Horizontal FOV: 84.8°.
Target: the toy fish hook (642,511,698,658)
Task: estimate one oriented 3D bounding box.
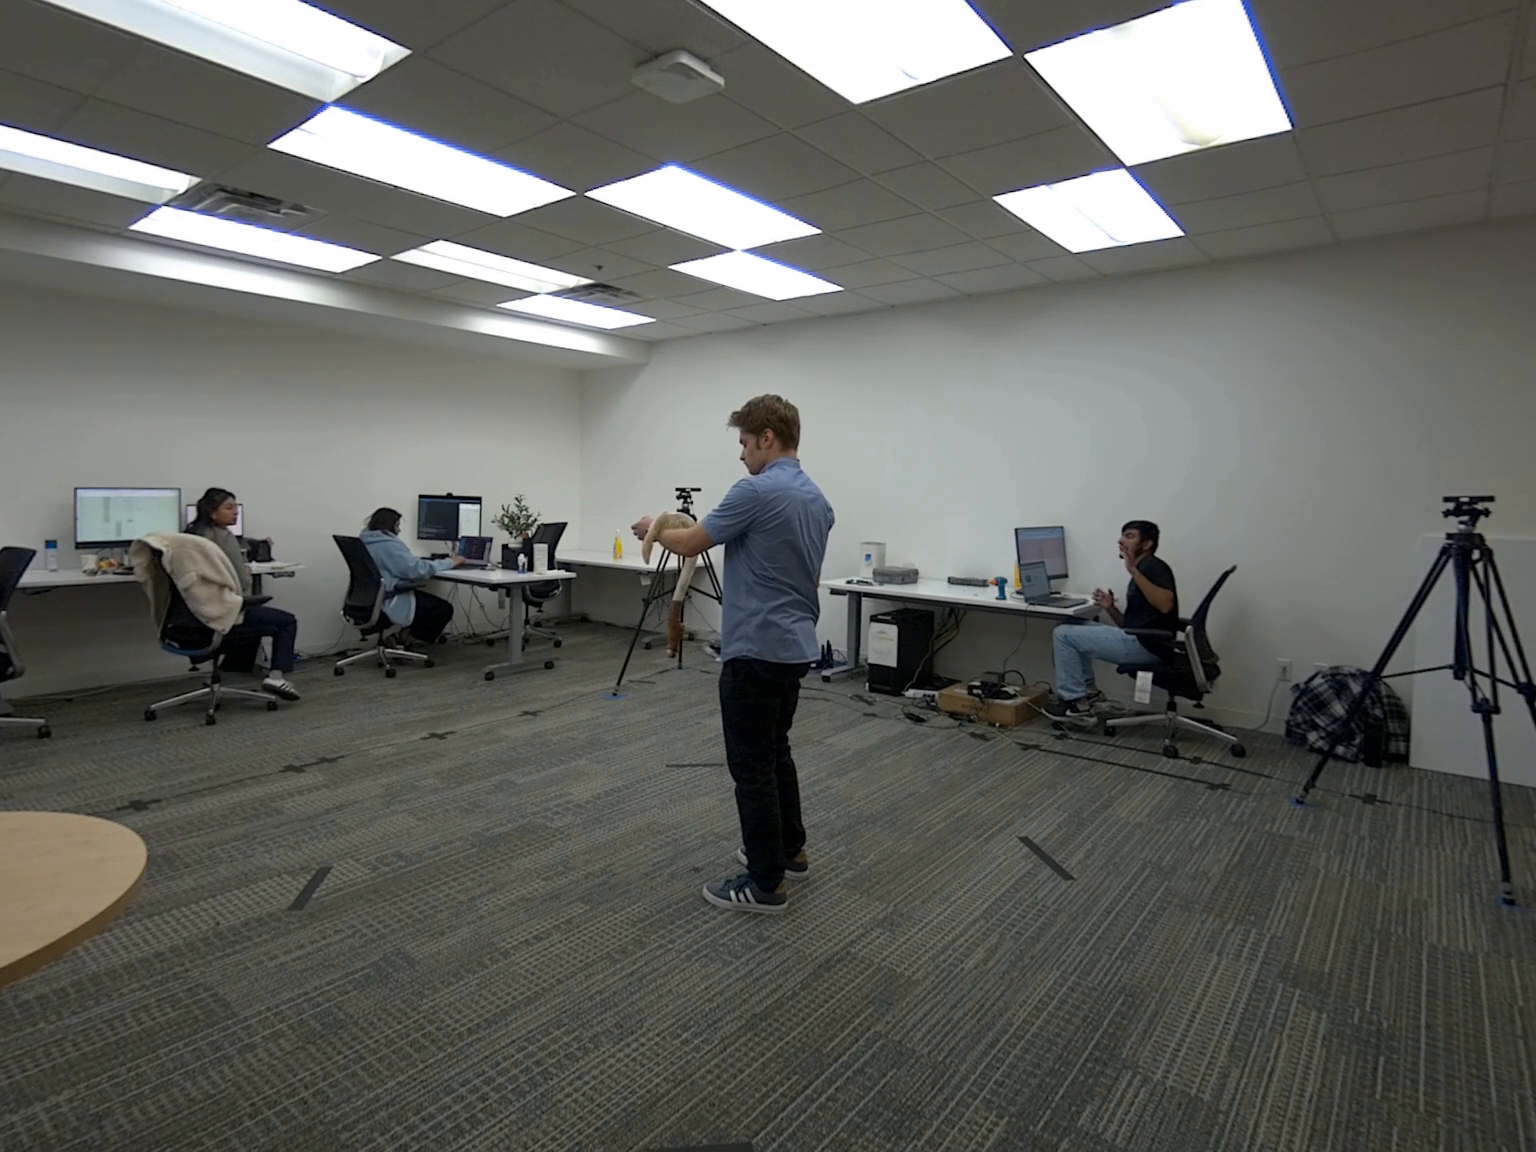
[{"bbox_3d":[-0.369,0.028,2.957,0.219,0.509,0.049,8,-6,-23],"label":"toy fish hook"}]
